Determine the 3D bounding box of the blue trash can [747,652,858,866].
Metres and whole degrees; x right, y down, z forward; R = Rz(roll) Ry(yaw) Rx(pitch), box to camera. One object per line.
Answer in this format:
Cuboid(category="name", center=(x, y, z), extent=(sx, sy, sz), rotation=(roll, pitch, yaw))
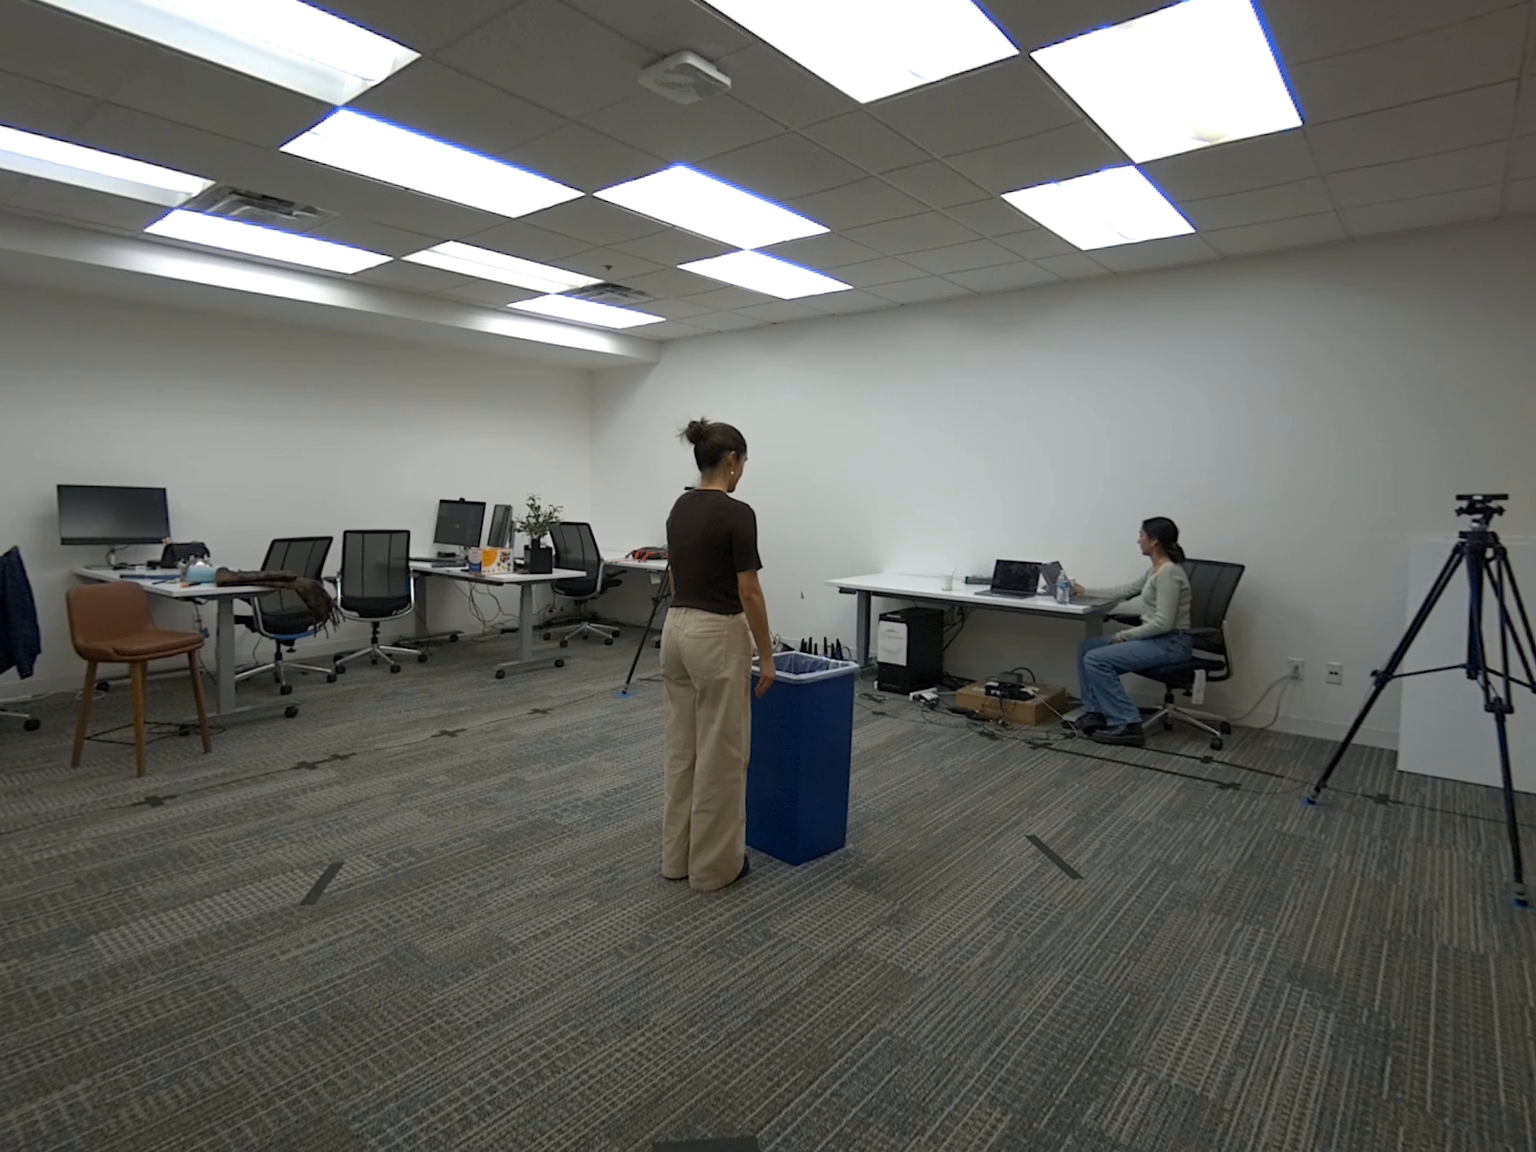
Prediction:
Cuboid(category="blue trash can", center=(0.097, 0.692, 3.317), extent=(0.362, 0.712, 0.391), rotation=(-2, 4, -45))
